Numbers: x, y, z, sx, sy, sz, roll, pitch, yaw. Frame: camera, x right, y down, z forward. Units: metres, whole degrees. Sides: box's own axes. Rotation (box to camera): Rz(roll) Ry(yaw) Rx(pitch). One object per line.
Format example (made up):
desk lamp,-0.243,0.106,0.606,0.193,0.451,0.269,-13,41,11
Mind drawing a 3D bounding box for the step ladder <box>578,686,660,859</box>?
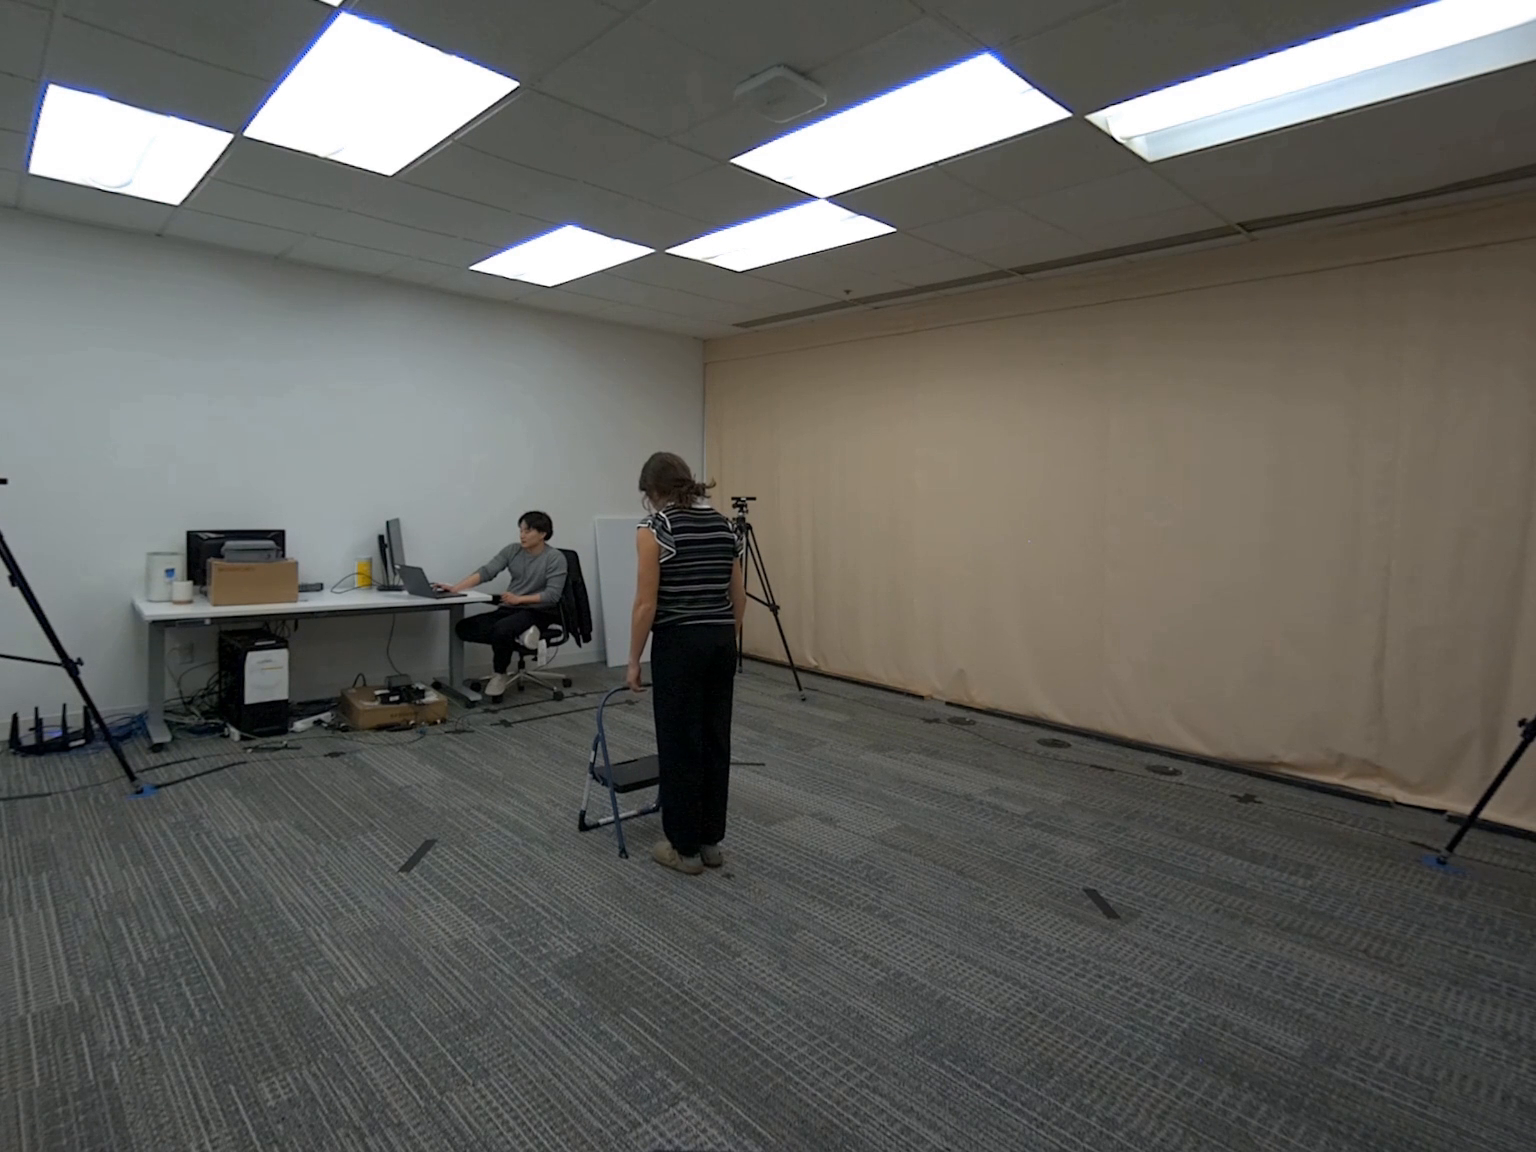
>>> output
step ladder,-0.520,0.764,3.483,0.421,0.604,0.358,-2,5,-43
